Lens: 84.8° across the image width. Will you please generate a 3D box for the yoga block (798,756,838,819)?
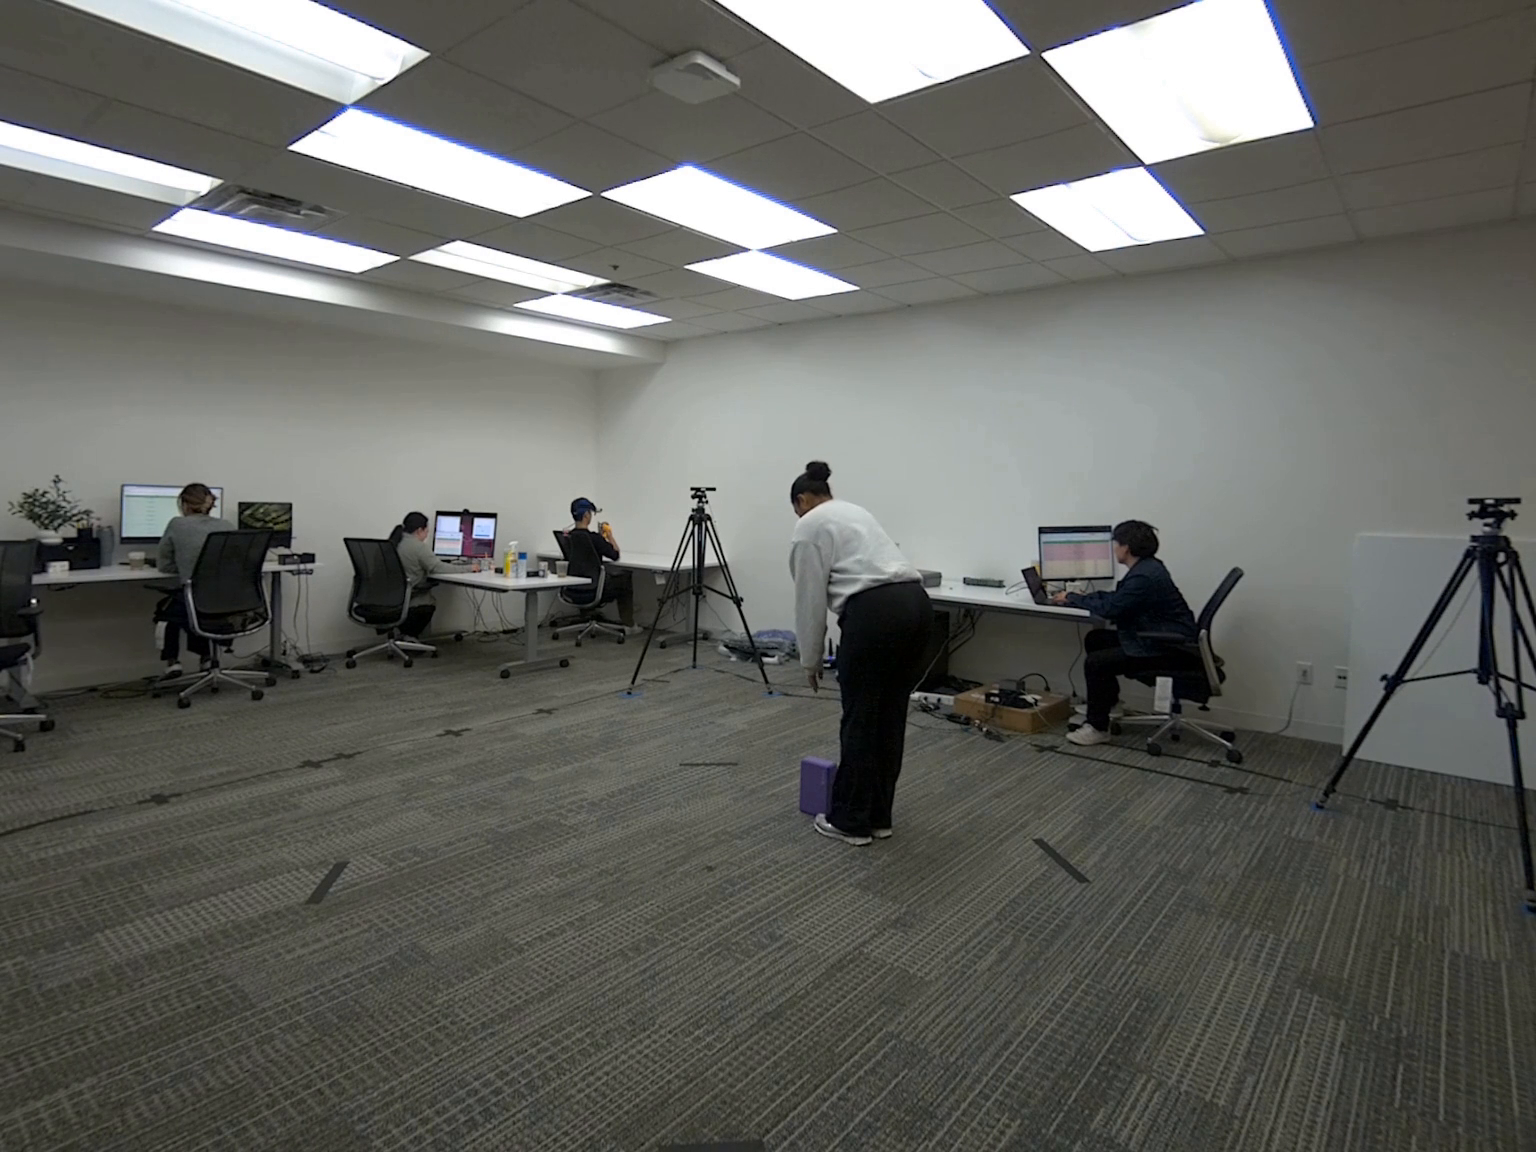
[{"bbox_3d":[0.208,0.900,3.658,0.154,0.228,0.074,4,4,39],"label":"yoga block"}]
